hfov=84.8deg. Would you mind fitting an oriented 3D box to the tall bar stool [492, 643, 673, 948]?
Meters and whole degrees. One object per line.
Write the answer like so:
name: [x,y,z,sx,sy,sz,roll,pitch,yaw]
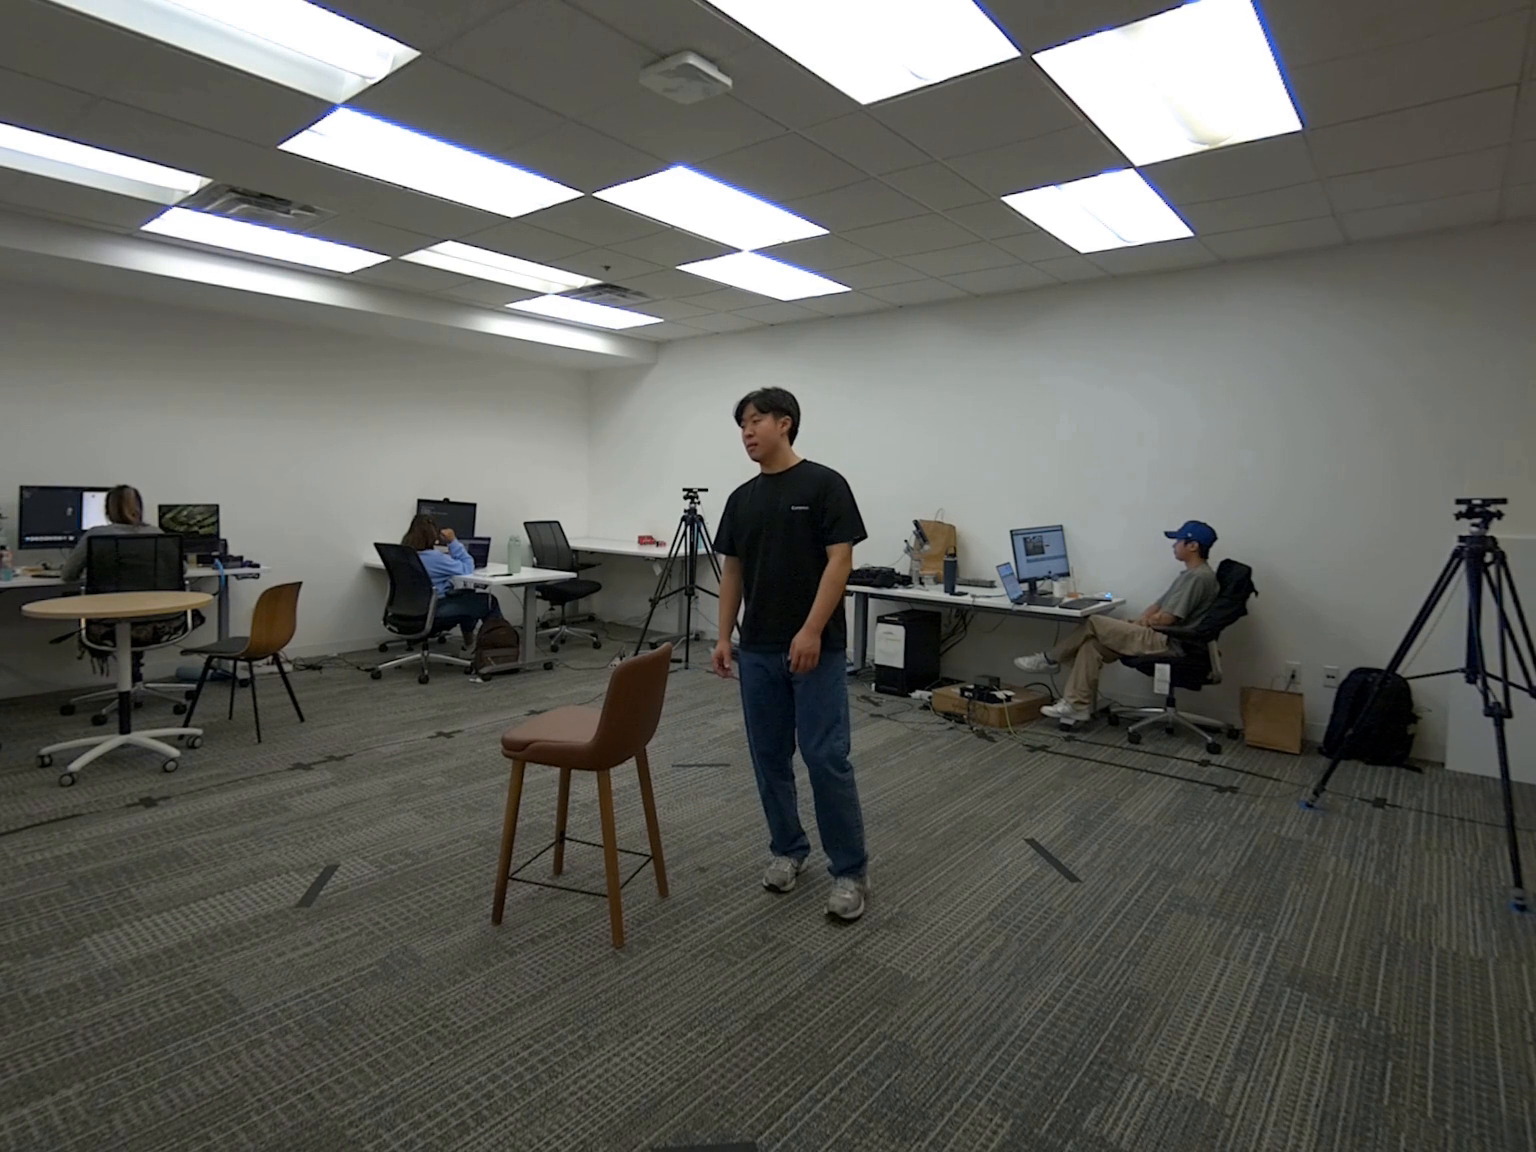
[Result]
tall bar stool: [-0.602,0.657,2.782,0.478,0.887,0.448,4,4,19]
